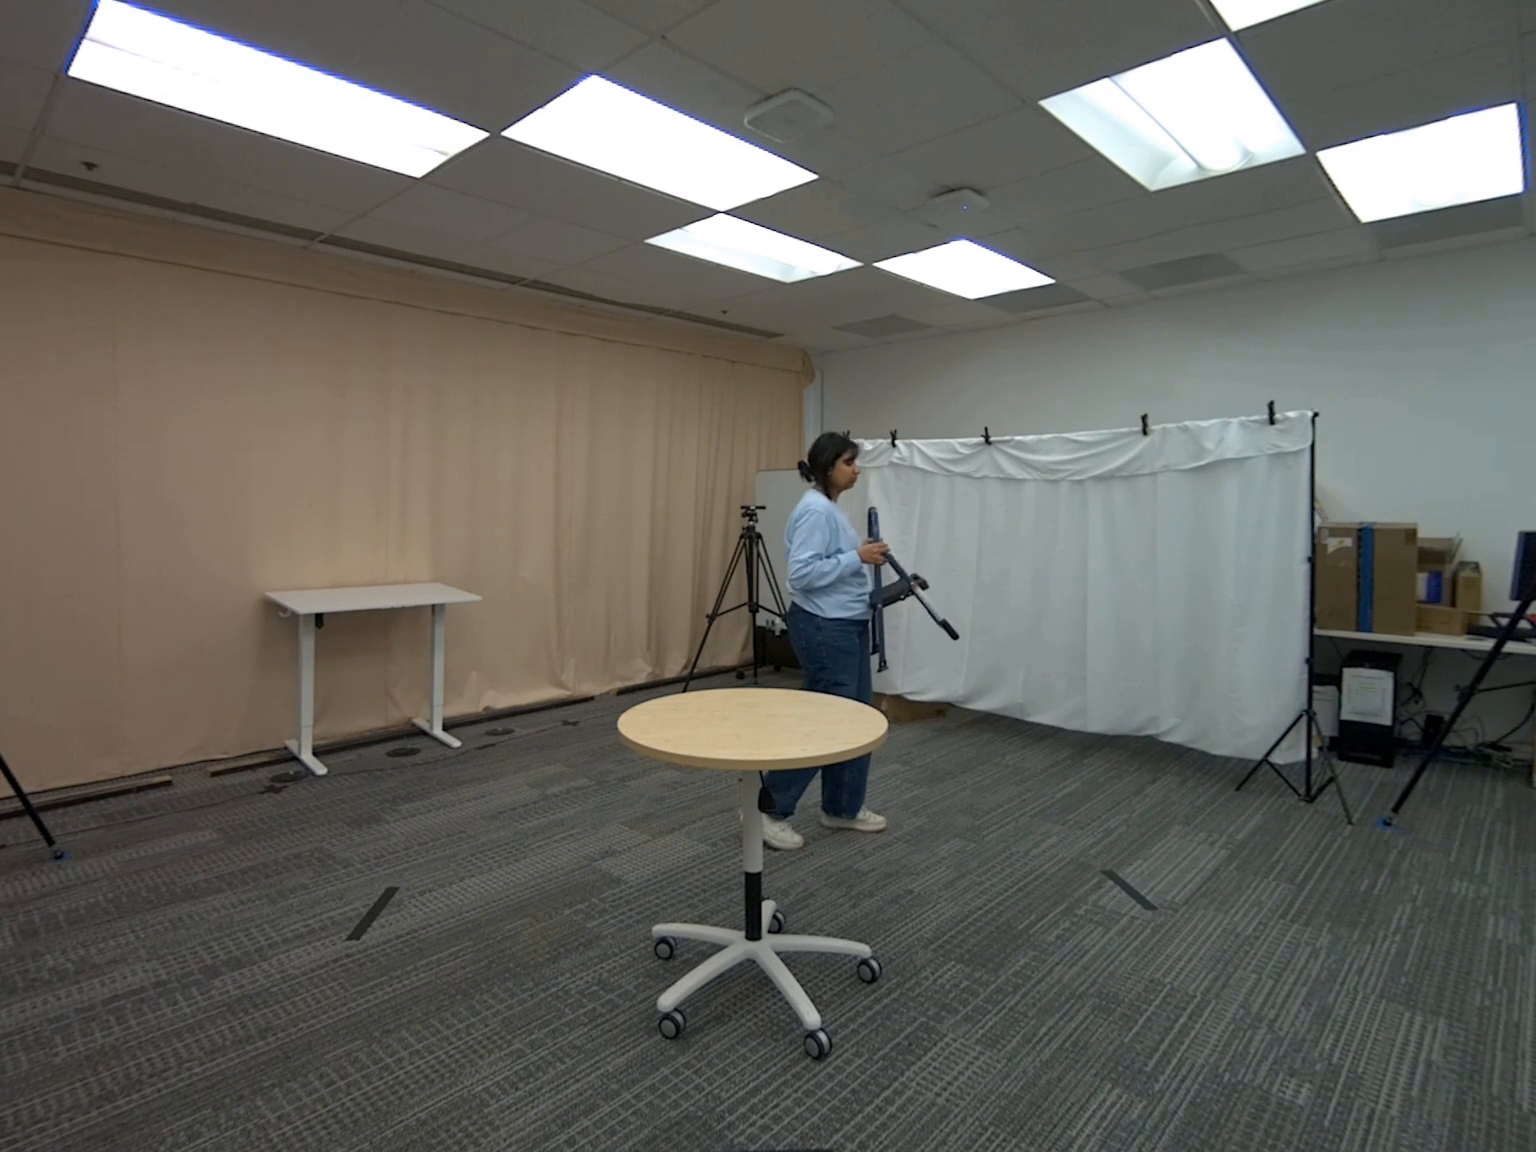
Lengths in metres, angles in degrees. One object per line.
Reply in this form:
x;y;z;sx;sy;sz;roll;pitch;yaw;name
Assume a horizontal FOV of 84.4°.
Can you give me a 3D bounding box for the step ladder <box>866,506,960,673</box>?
0.492;0.024;3.529;0.351;0.606;0.429;-23;0;5;step ladder
